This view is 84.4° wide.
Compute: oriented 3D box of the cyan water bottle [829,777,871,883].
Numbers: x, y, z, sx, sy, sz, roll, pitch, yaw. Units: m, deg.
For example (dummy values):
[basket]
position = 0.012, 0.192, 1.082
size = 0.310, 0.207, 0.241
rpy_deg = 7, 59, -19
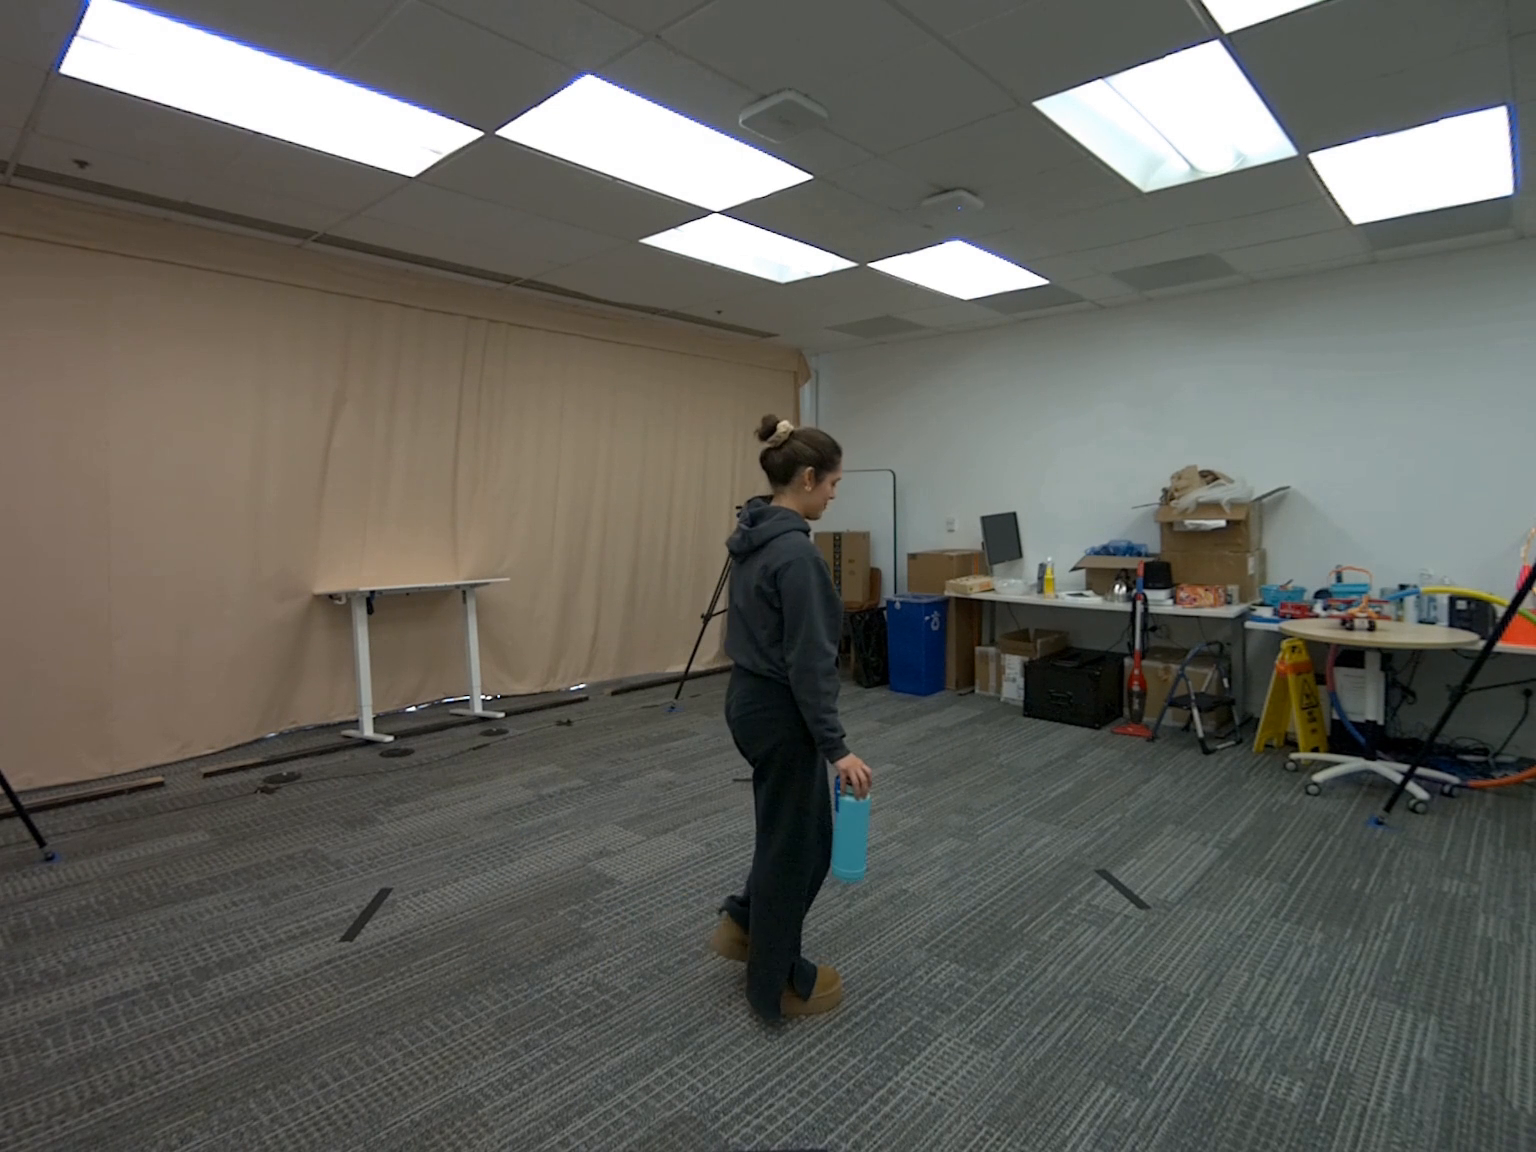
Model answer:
[cyan water bottle]
position = 0.223, 0.635, 2.177
size = 0.092, 0.282, 0.093
rpy_deg = 2, 5, -2
